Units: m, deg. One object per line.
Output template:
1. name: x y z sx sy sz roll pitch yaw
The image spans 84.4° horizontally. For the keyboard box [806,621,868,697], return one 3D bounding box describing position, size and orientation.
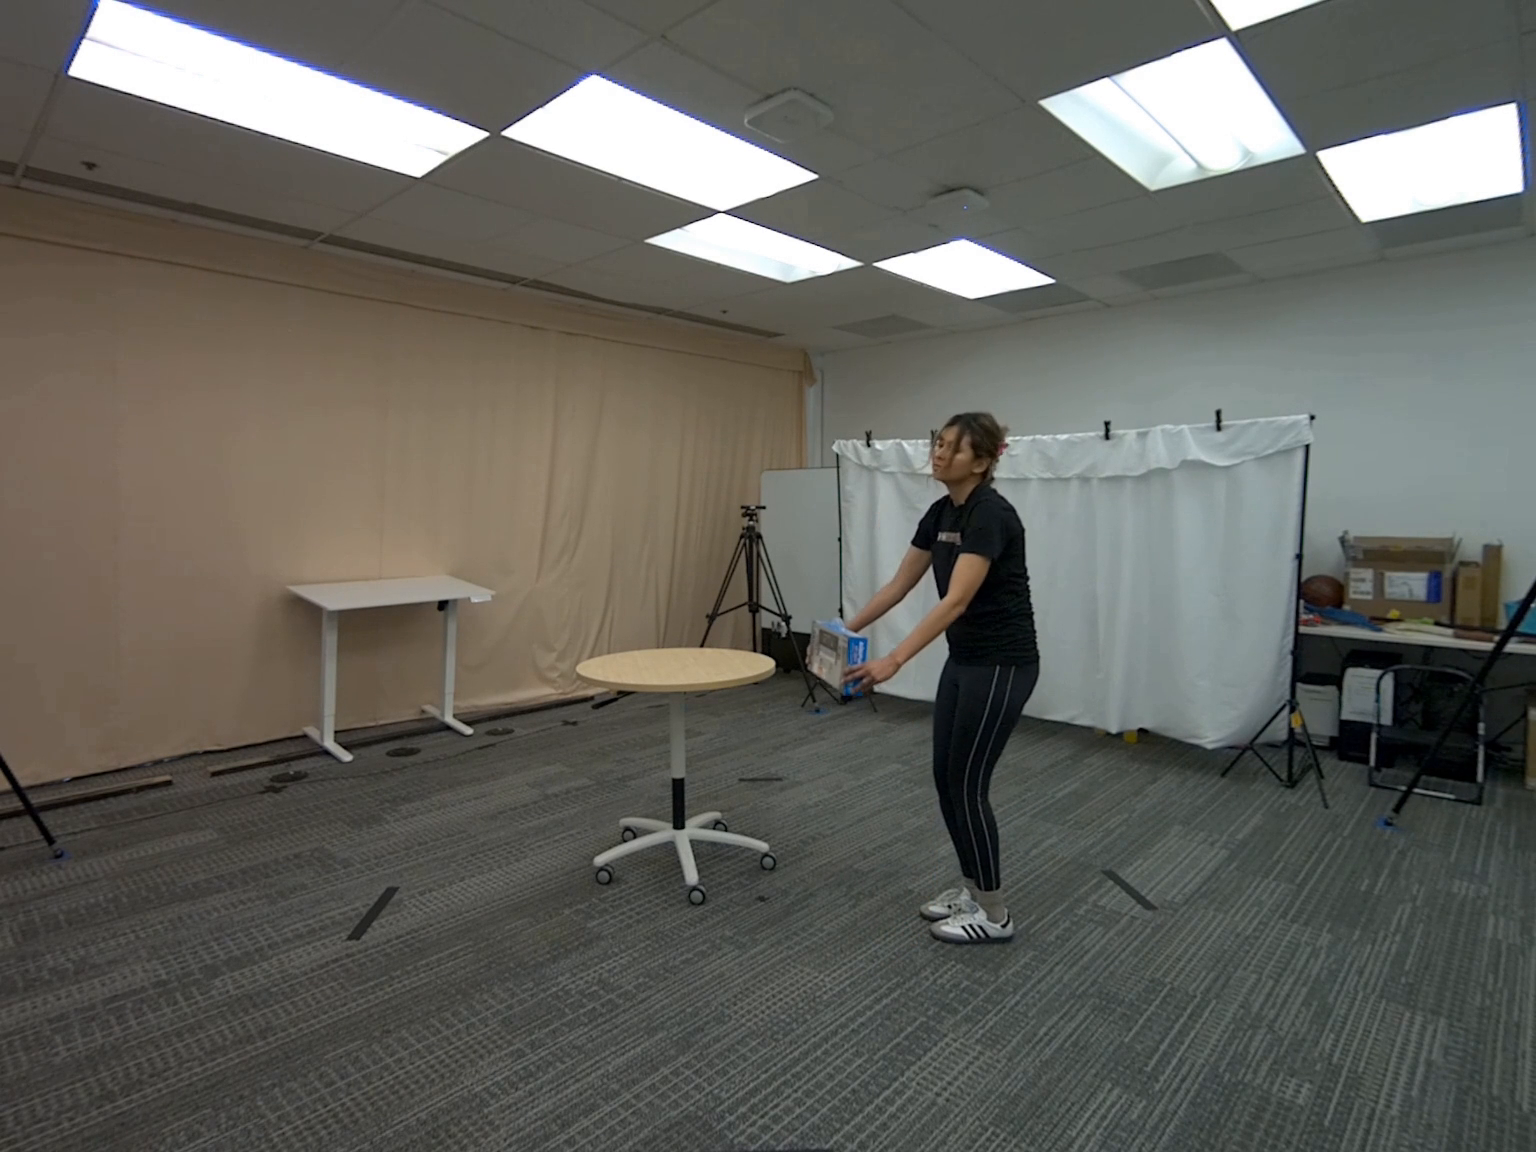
1. keyboard box: 0.221 0.258 2.672 0.058 0.176 0.442 5 2 -11
